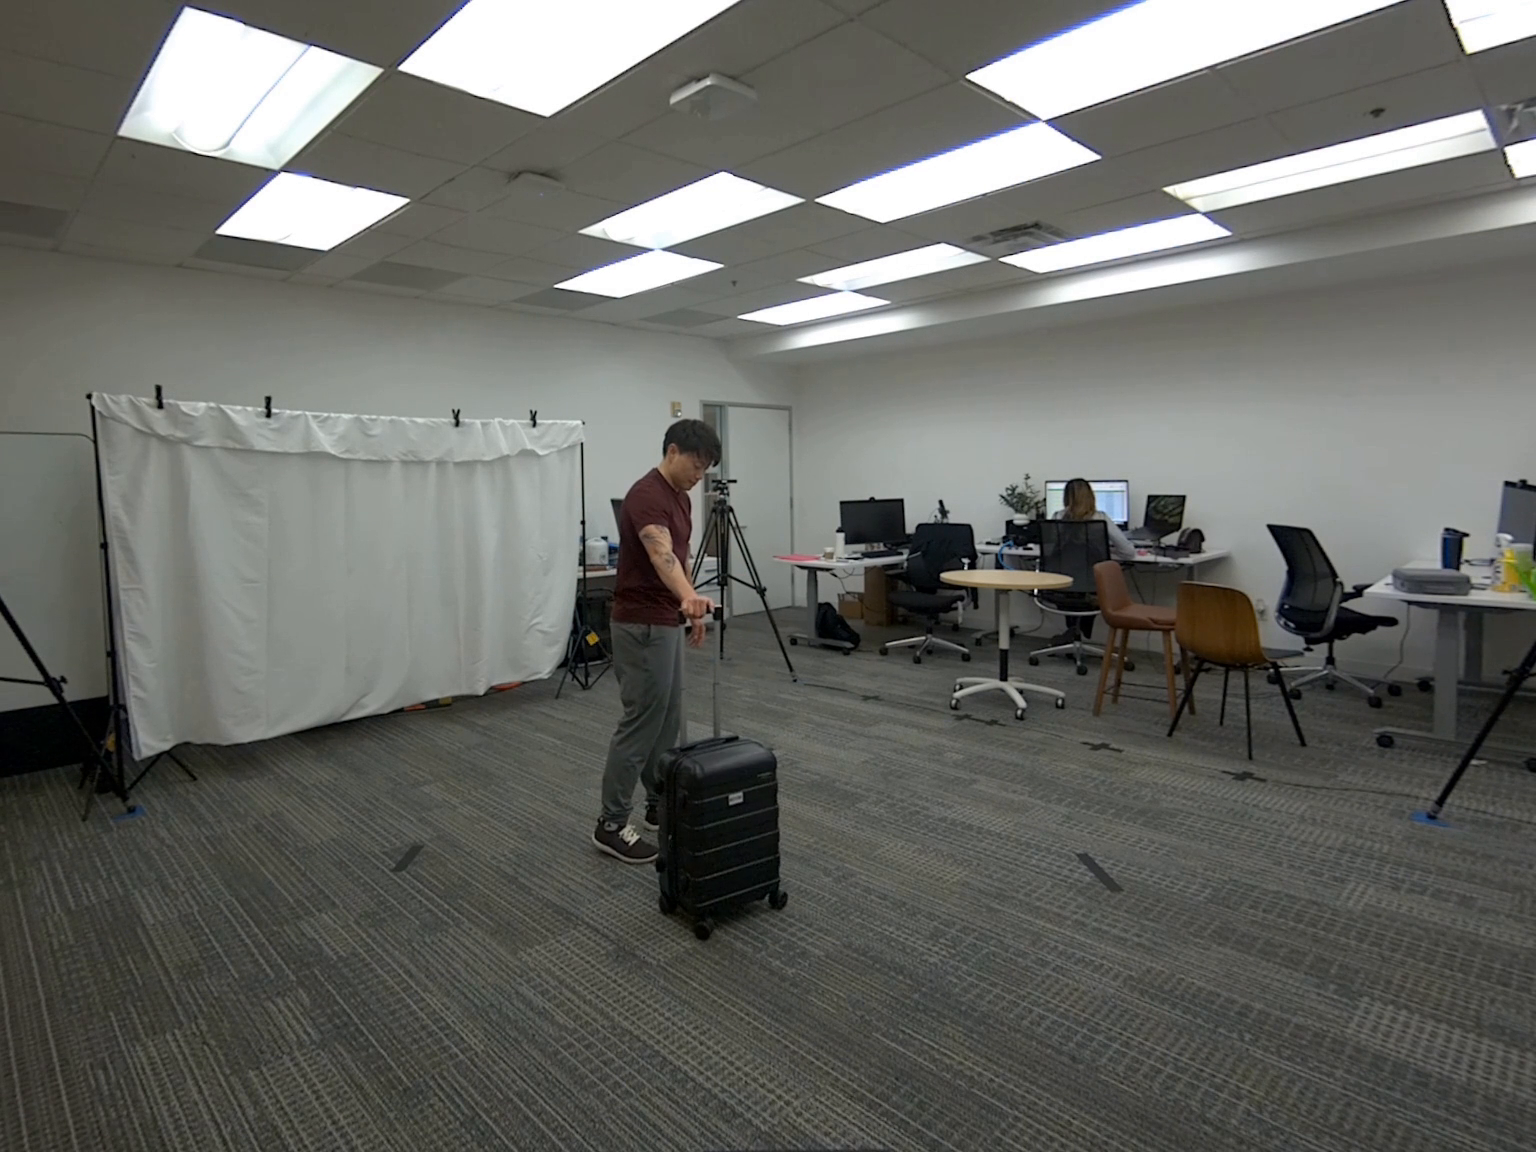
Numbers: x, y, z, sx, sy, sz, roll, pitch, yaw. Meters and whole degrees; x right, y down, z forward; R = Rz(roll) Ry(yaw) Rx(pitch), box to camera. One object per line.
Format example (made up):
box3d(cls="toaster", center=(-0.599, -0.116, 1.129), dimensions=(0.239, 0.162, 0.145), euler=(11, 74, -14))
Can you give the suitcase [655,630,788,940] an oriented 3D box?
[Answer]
box3d(cls="suitcase", center=(-0.153, 0.610, 2.757), dimensions=(0.374, 0.974, 0.265), euler=(-4, 6, -35))
